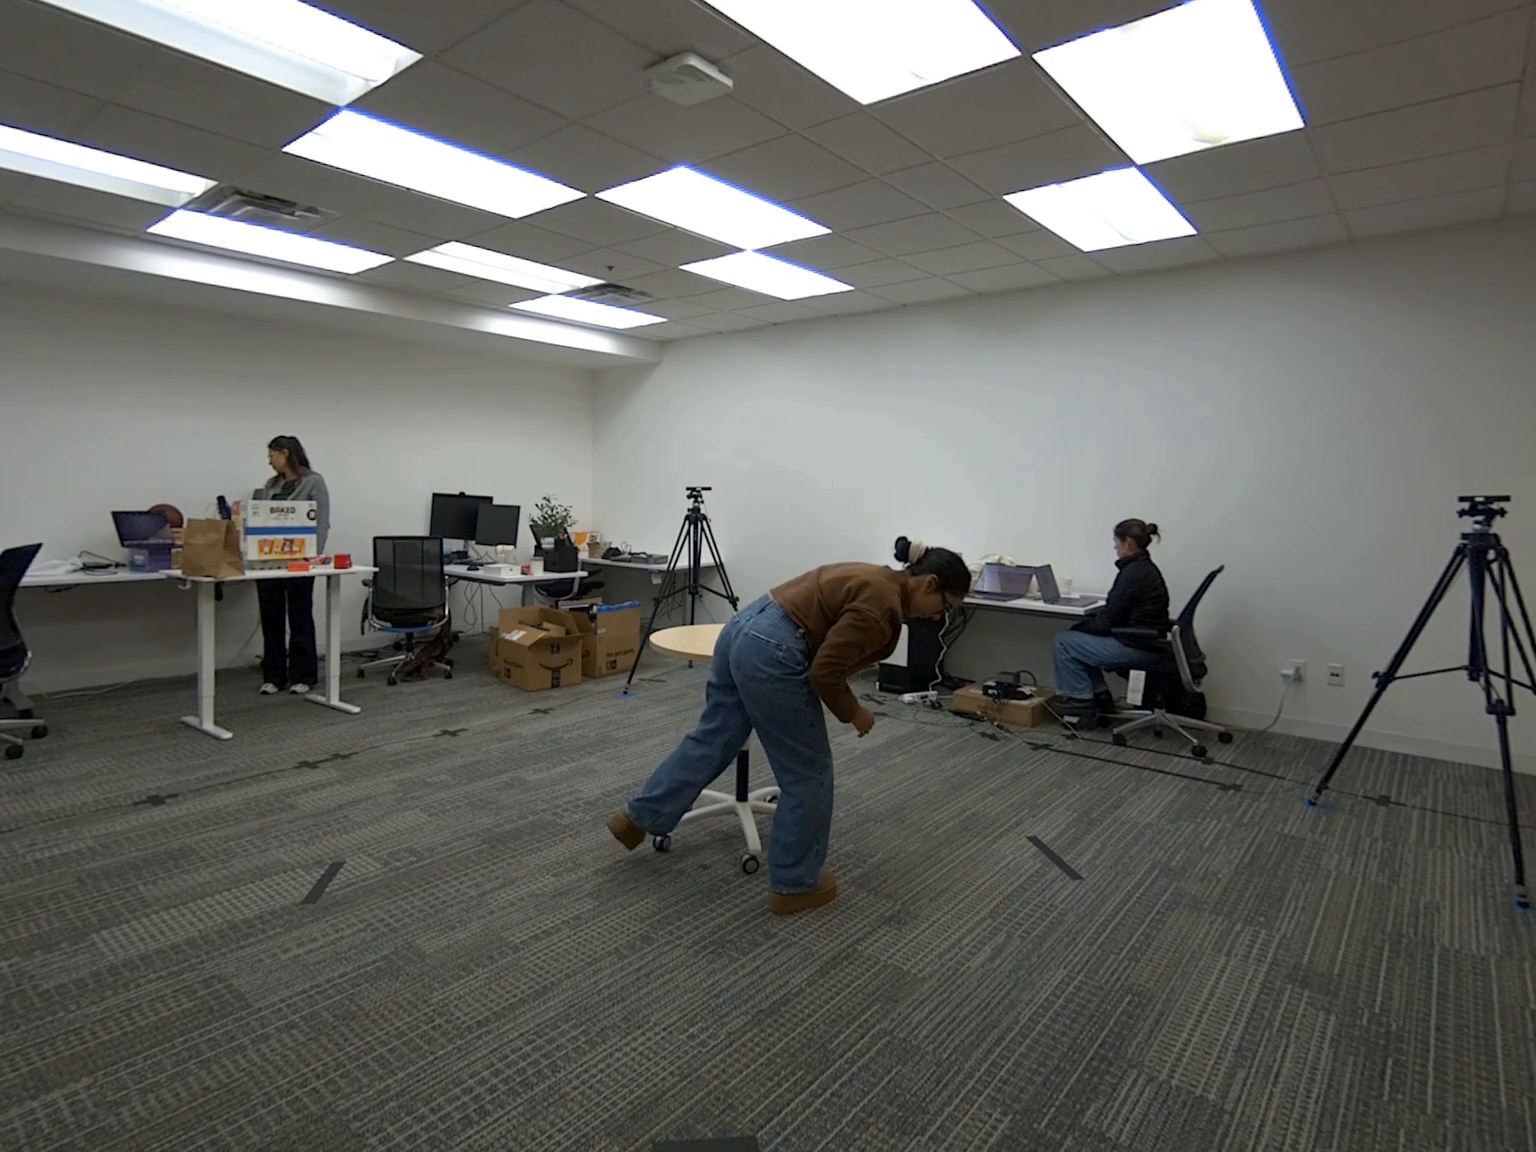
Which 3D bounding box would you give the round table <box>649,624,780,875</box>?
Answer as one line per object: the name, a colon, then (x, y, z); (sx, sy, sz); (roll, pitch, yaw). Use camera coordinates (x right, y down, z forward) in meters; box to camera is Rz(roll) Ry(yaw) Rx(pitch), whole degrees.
round table: (-0.107, 0.648, 3.403); (0.763, 0.791, 0.768); (1, 4, -2)
